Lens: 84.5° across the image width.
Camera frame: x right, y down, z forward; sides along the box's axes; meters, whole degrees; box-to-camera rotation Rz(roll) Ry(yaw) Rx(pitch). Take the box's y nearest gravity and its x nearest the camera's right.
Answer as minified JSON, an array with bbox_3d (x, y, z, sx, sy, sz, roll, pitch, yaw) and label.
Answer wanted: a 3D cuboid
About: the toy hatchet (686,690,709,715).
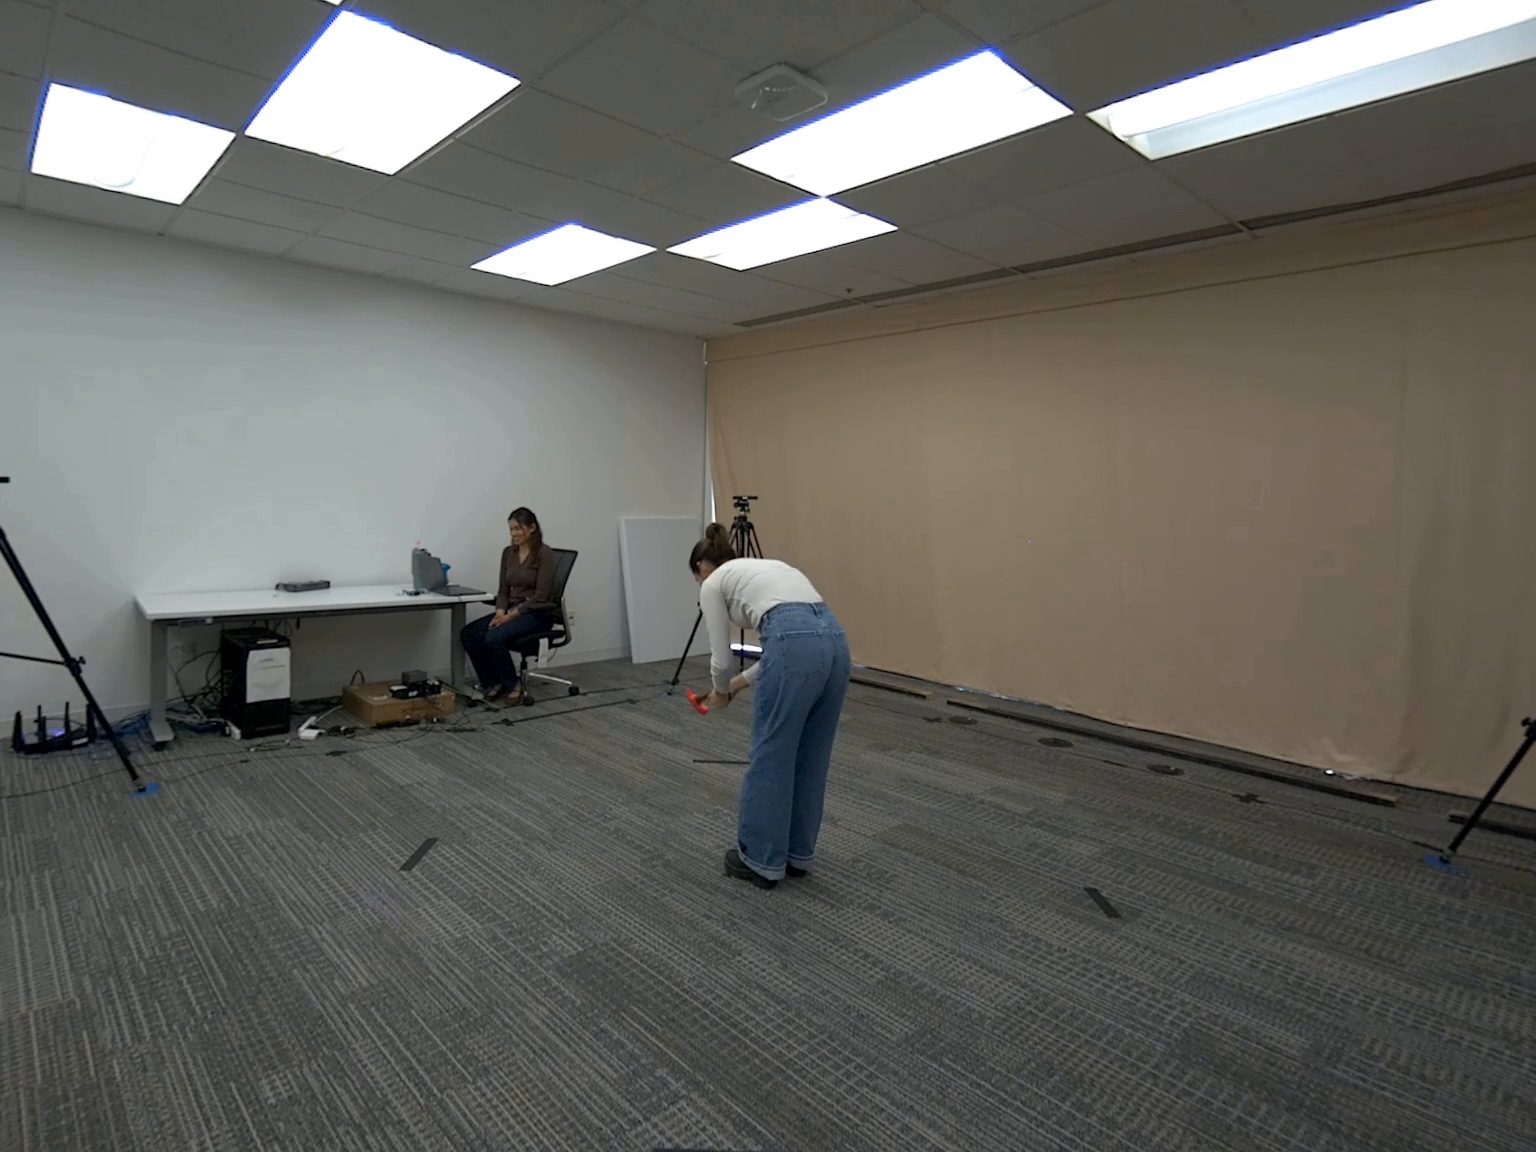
[{"bbox_3d":[-0.244,0.514,3.454,0.029,0.129,0.276,-27,16,-39],"label":"toy hatchet"}]
